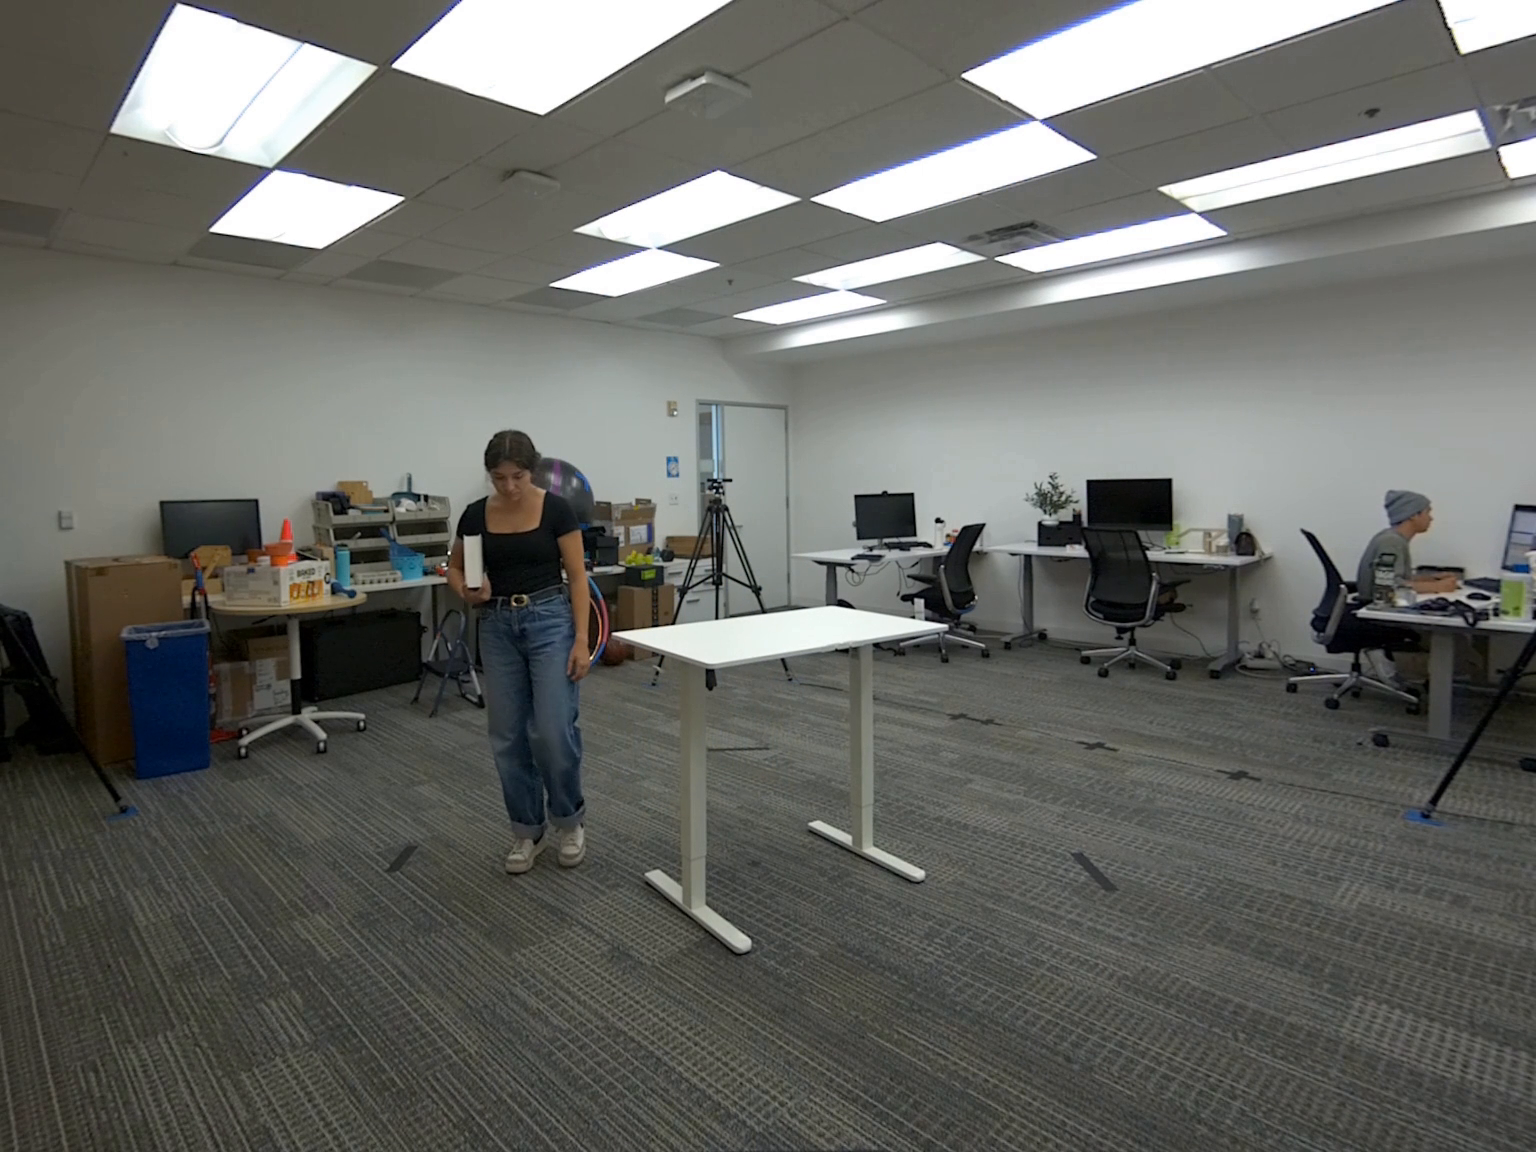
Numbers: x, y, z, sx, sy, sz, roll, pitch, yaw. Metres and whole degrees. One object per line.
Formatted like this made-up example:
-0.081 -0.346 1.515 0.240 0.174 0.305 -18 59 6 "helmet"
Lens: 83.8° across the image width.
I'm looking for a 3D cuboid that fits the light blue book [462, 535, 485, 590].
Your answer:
-1.061 -0.033 3.098 0.058 0.193 0.261 -2 -8 -12 "light blue book"
